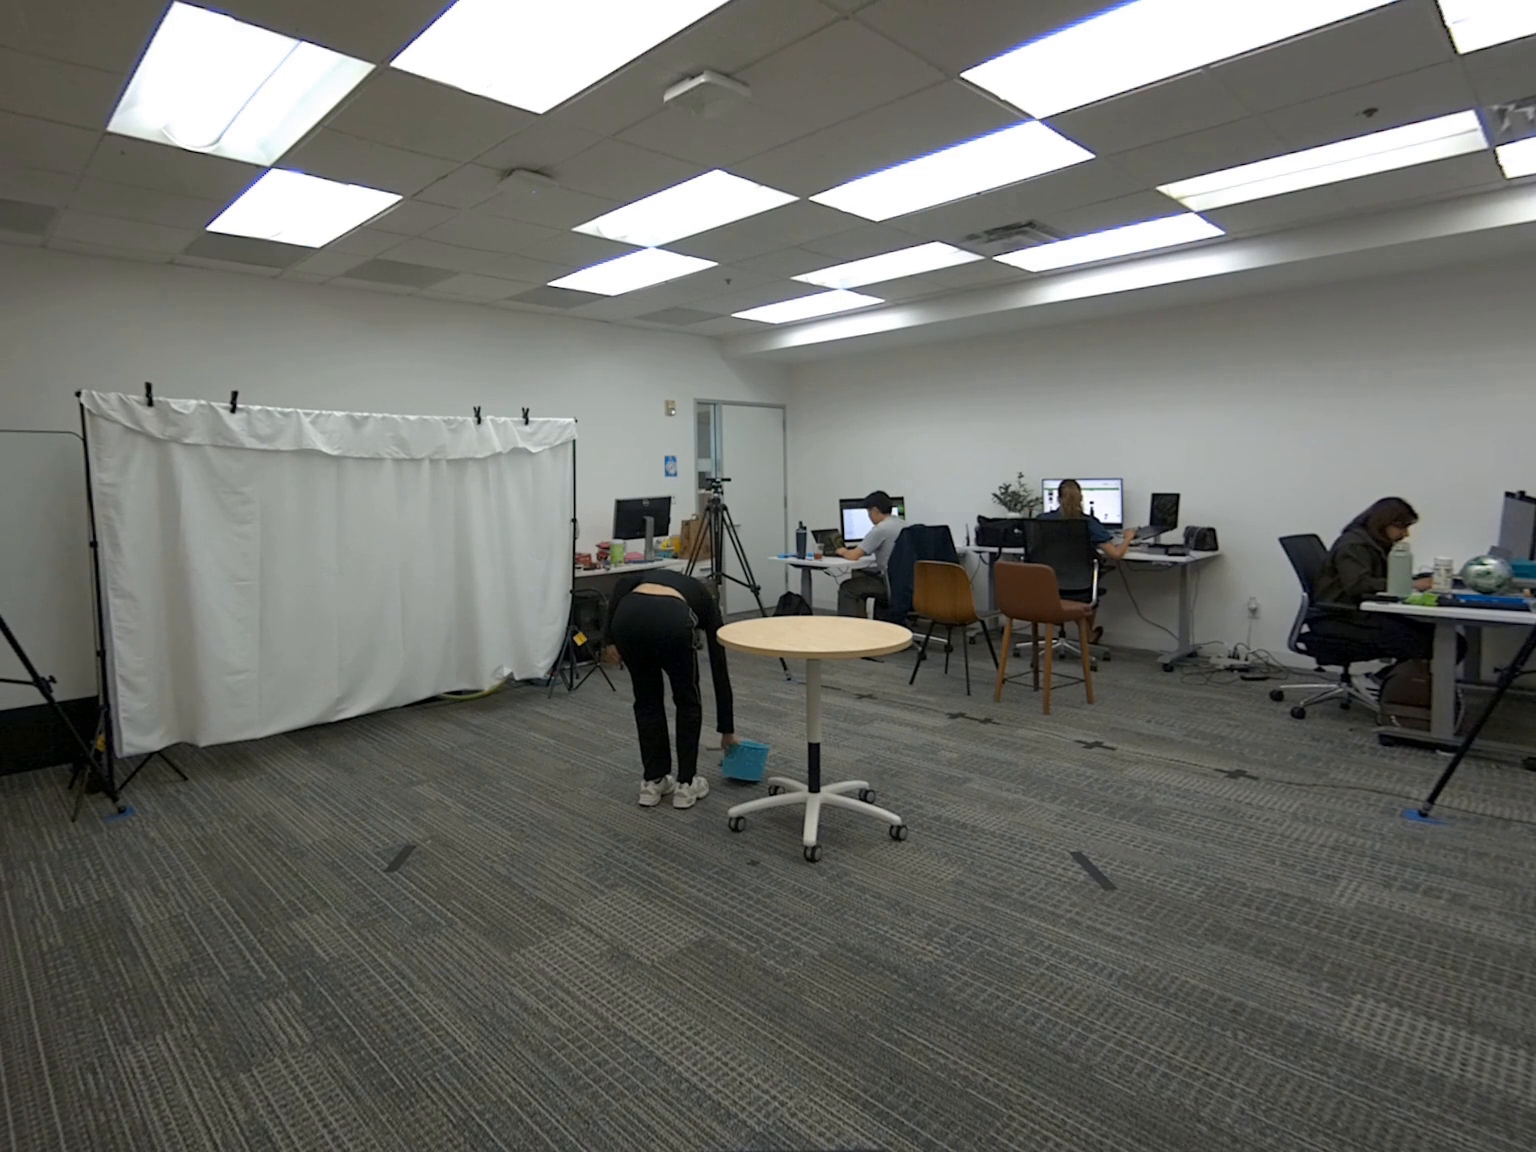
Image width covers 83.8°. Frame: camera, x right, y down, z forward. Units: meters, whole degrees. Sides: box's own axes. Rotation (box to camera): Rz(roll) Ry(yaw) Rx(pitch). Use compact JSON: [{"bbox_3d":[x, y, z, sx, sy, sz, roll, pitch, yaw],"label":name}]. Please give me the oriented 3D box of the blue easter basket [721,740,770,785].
[{"bbox_3d":[-0.112,0.846,3.979,0.243,0.157,0.242,6,-5,-1],"label":"blue easter basket"}]
